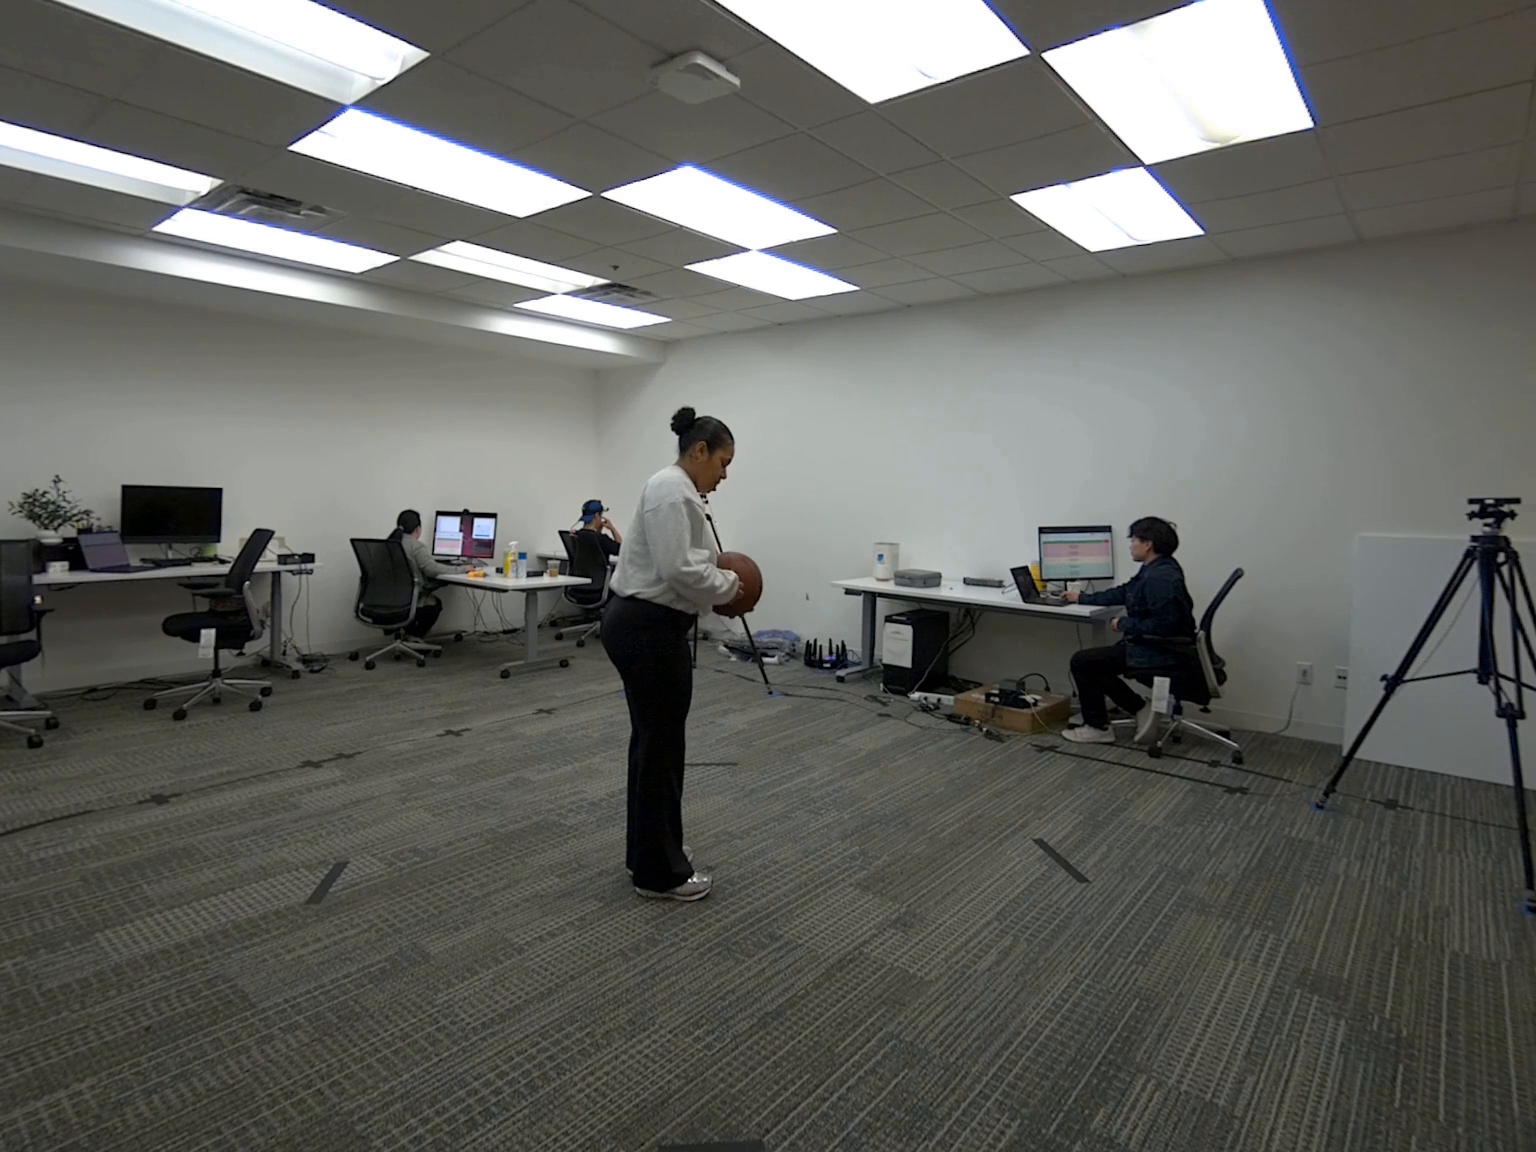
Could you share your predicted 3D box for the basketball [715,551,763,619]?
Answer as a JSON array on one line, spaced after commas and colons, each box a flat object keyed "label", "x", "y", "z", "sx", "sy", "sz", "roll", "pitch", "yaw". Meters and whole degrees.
[{"label": "basketball", "x": -0.163, "y": 0.033, "z": 3.103, "sx": 0.235, "sy": 0.235, "sz": 0.237, "roll": 1, "pitch": 4, "yaw": -2}]
